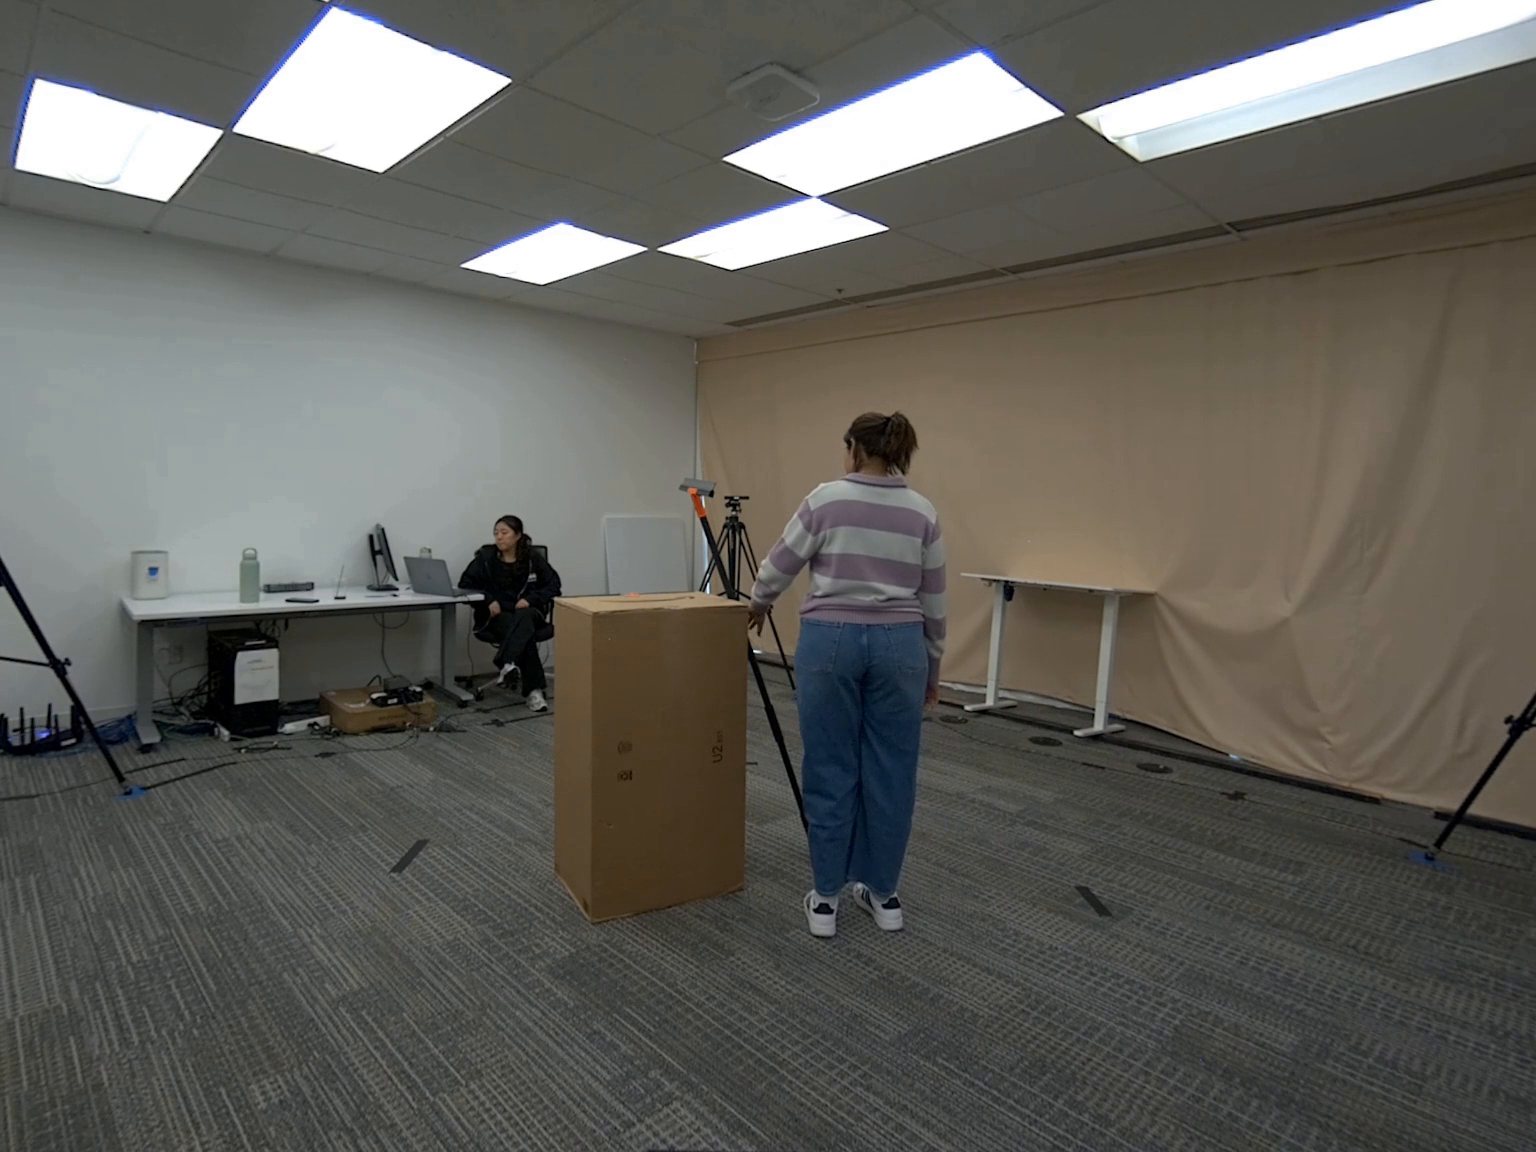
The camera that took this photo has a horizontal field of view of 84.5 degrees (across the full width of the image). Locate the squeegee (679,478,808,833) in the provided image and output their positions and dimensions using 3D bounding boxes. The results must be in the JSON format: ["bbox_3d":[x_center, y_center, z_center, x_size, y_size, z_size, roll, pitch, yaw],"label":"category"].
[{"bbox_3d":[-0.033,0.377,3.147,0.052,1.518,0.446,-21,14,-17],"label":"squeegee"}]
